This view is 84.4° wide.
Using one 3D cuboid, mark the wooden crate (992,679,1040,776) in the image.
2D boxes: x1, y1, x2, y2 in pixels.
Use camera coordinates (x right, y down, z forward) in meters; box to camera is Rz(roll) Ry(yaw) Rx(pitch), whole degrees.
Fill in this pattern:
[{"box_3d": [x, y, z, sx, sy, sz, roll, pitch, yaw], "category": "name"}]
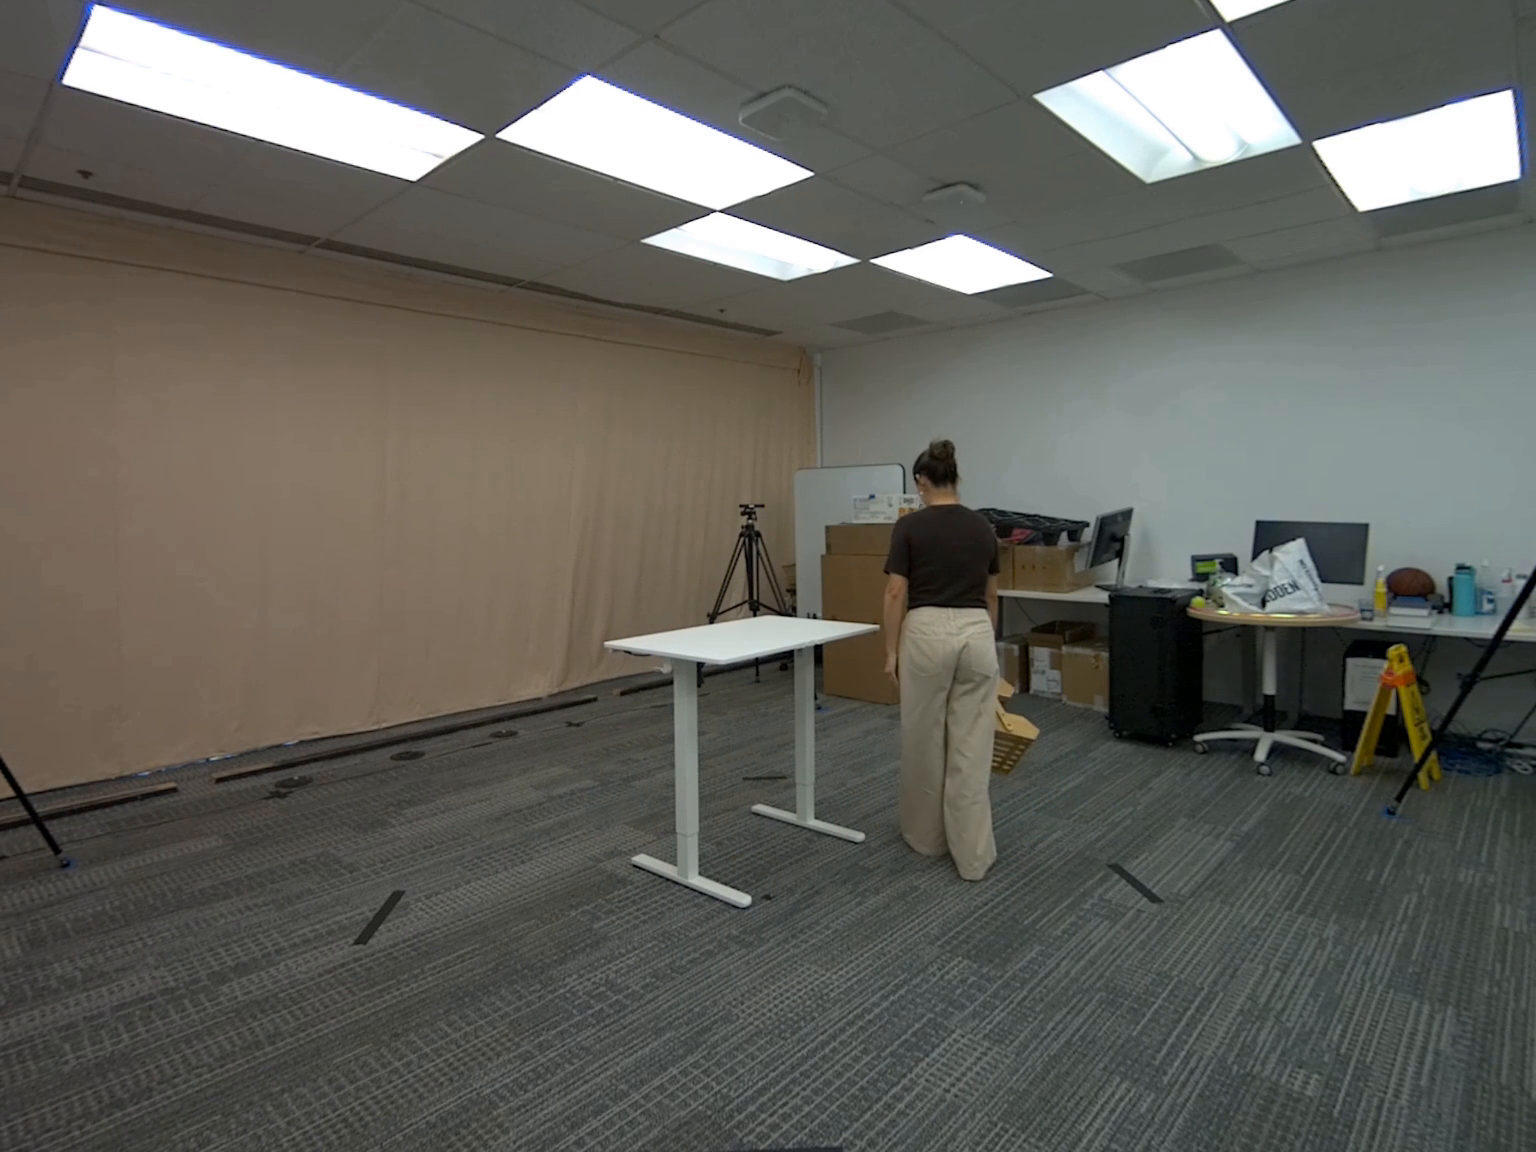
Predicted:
[{"box_3d": [0.904, 0.595, 3.444, 0.303, 0.276, 0.320, 13, -41, 2], "category": "wooden crate"}]
